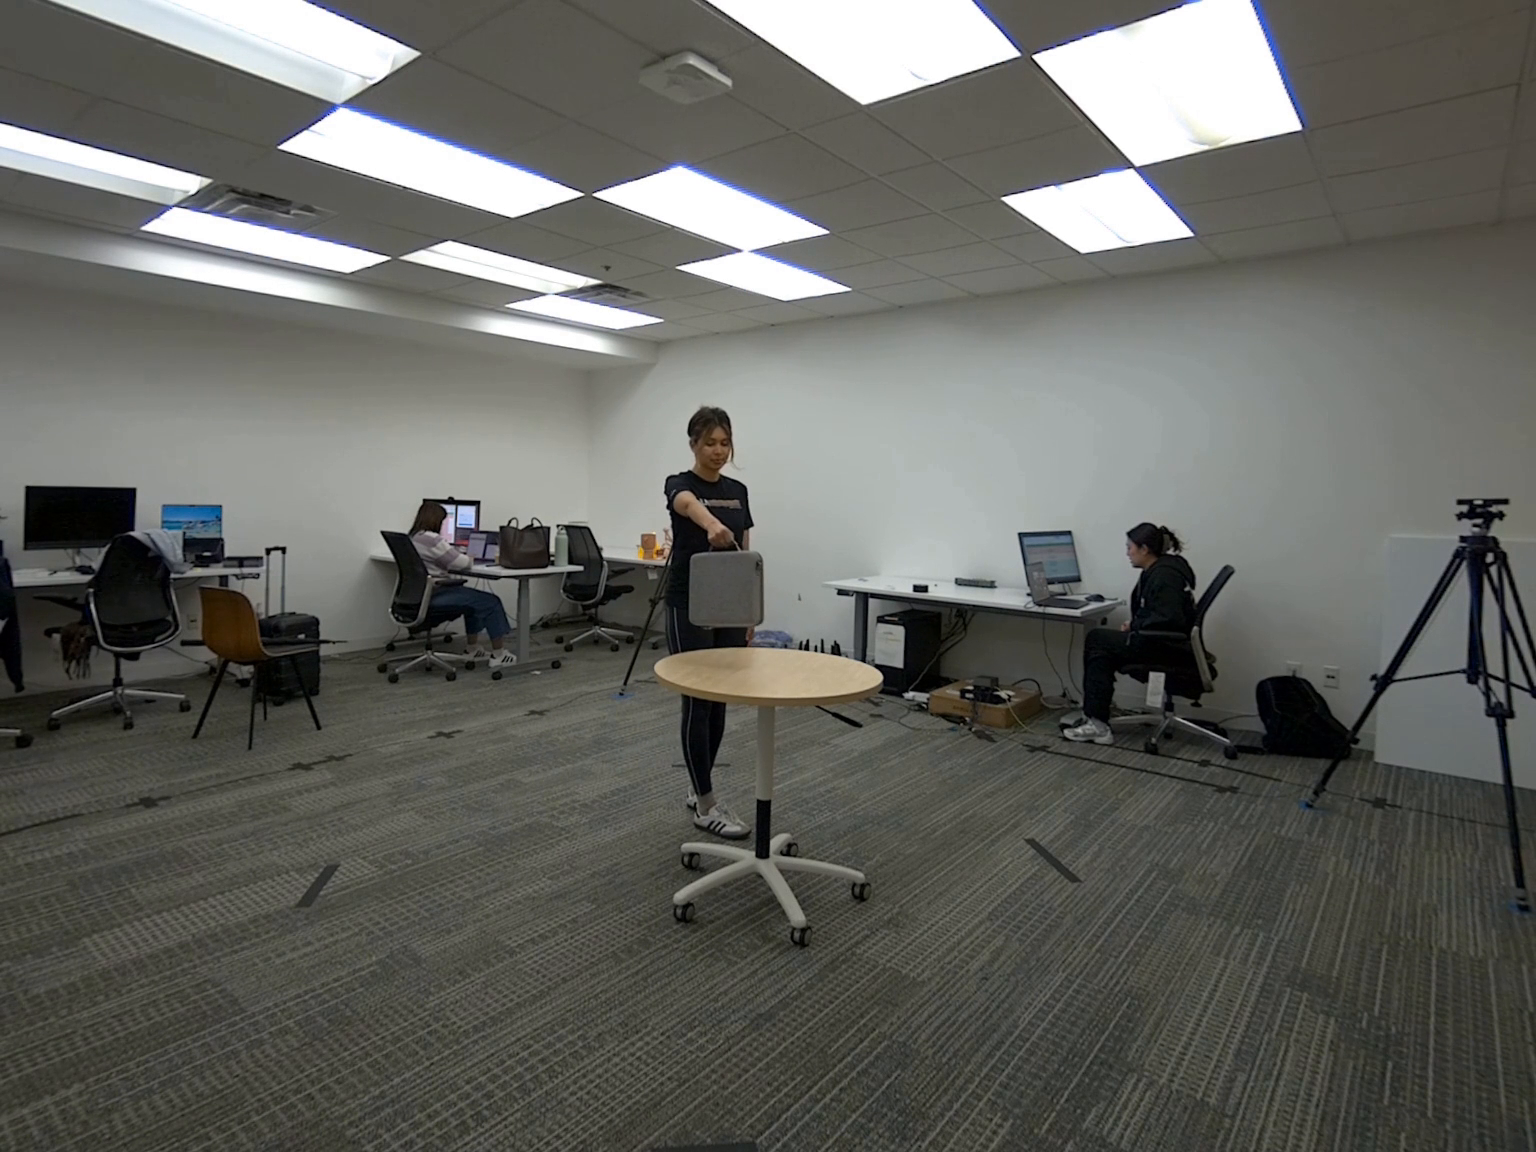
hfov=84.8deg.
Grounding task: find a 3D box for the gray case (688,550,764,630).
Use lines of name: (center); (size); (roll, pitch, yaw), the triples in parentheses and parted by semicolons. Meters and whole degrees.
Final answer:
gray case: (-0.152, 0.038, 2.912); (0.263, 0.262, 0.101); (-4, -6, 28)
